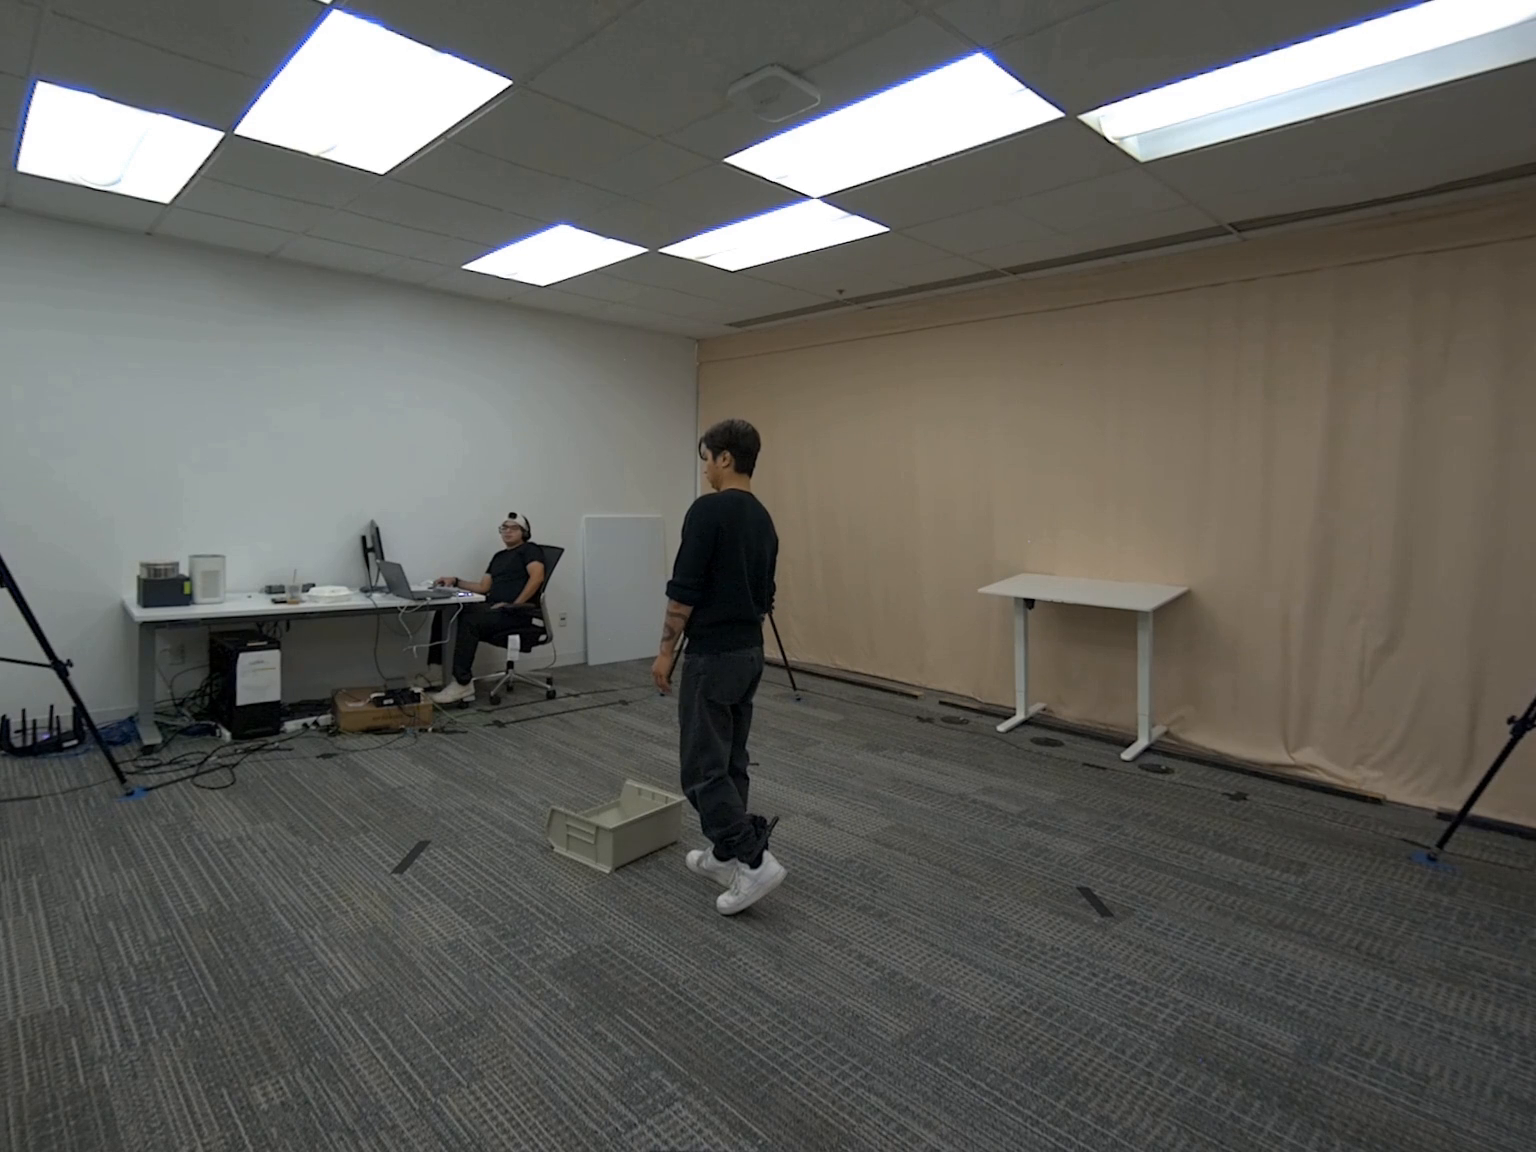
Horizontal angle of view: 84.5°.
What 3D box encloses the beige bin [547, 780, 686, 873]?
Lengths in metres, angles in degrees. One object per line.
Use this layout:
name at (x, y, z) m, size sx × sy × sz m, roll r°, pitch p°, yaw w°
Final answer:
beige bin at (-0.612, 0.986, 3.361) m, size 0.387 × 0.188 × 0.413 m, roll 6°, pitch 6°, yaw 37°
